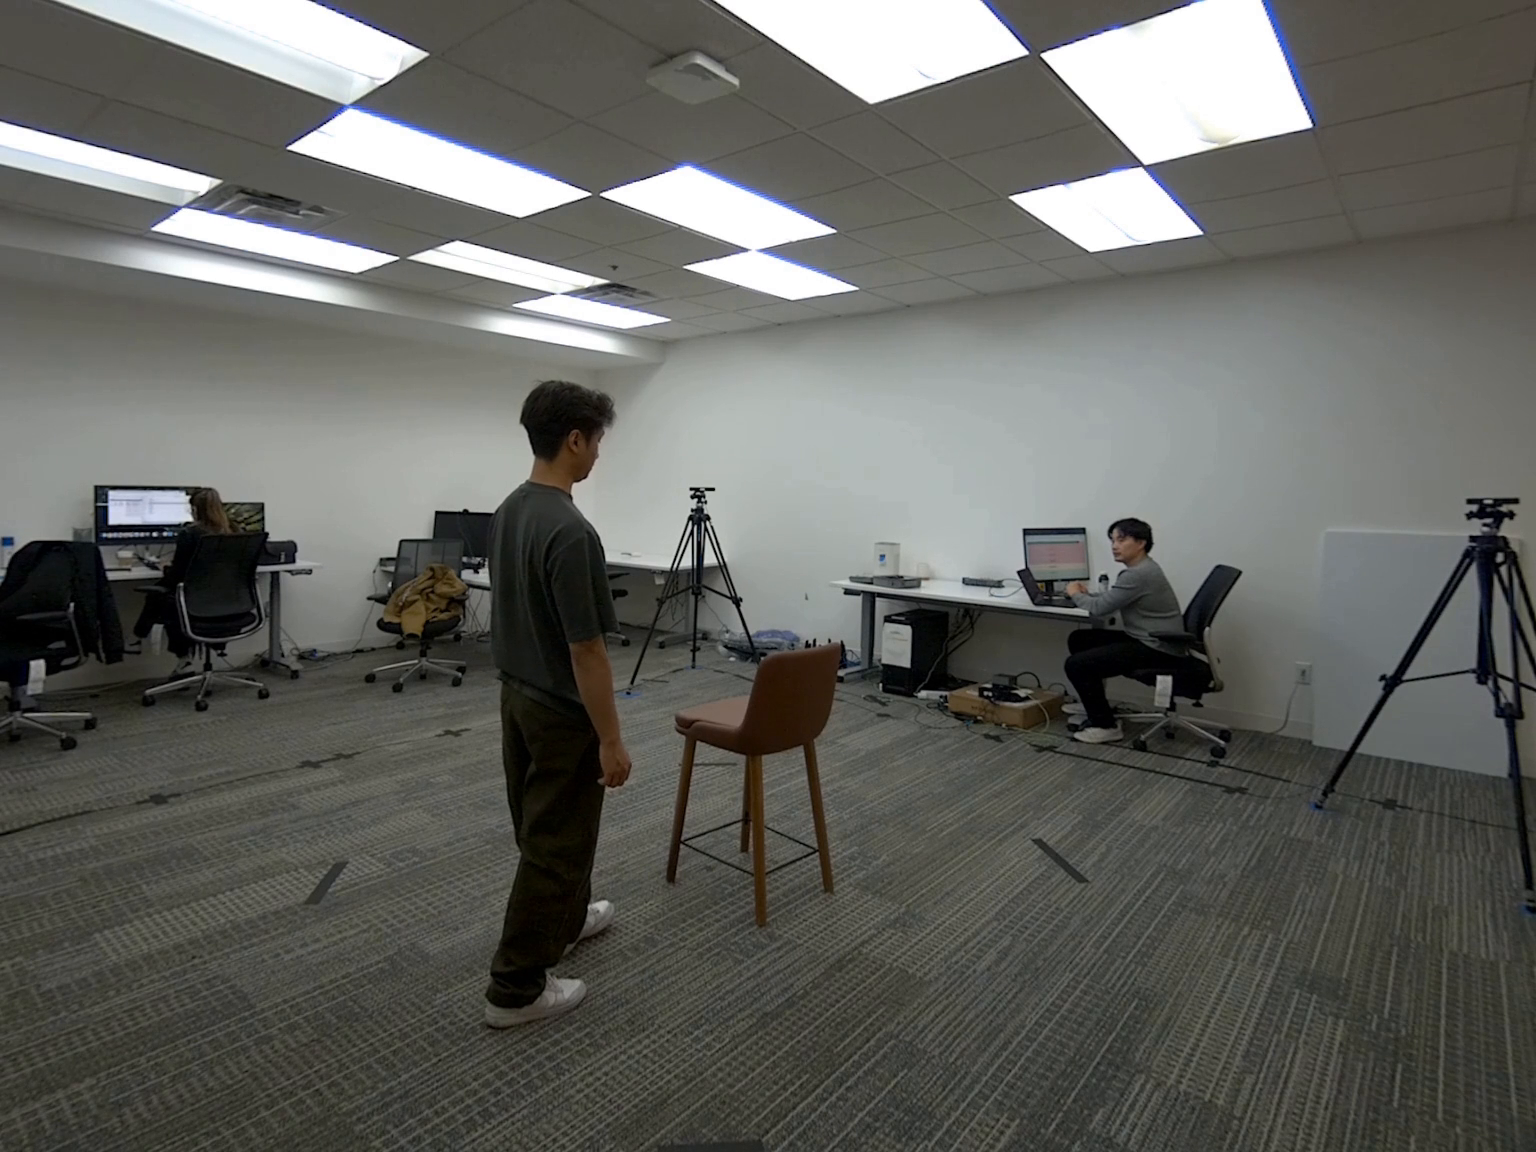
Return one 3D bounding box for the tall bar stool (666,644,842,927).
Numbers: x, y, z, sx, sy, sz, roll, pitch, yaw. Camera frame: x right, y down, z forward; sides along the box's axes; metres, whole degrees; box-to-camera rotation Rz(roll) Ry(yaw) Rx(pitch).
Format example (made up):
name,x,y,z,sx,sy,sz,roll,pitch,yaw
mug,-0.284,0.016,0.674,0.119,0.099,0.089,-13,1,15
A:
name,x,y,z,sx,sy,sz,roll,pitch,yaw
tall bar stool,-0.053,0.647,2.958,0.484,0.886,0.442,7,6,43
